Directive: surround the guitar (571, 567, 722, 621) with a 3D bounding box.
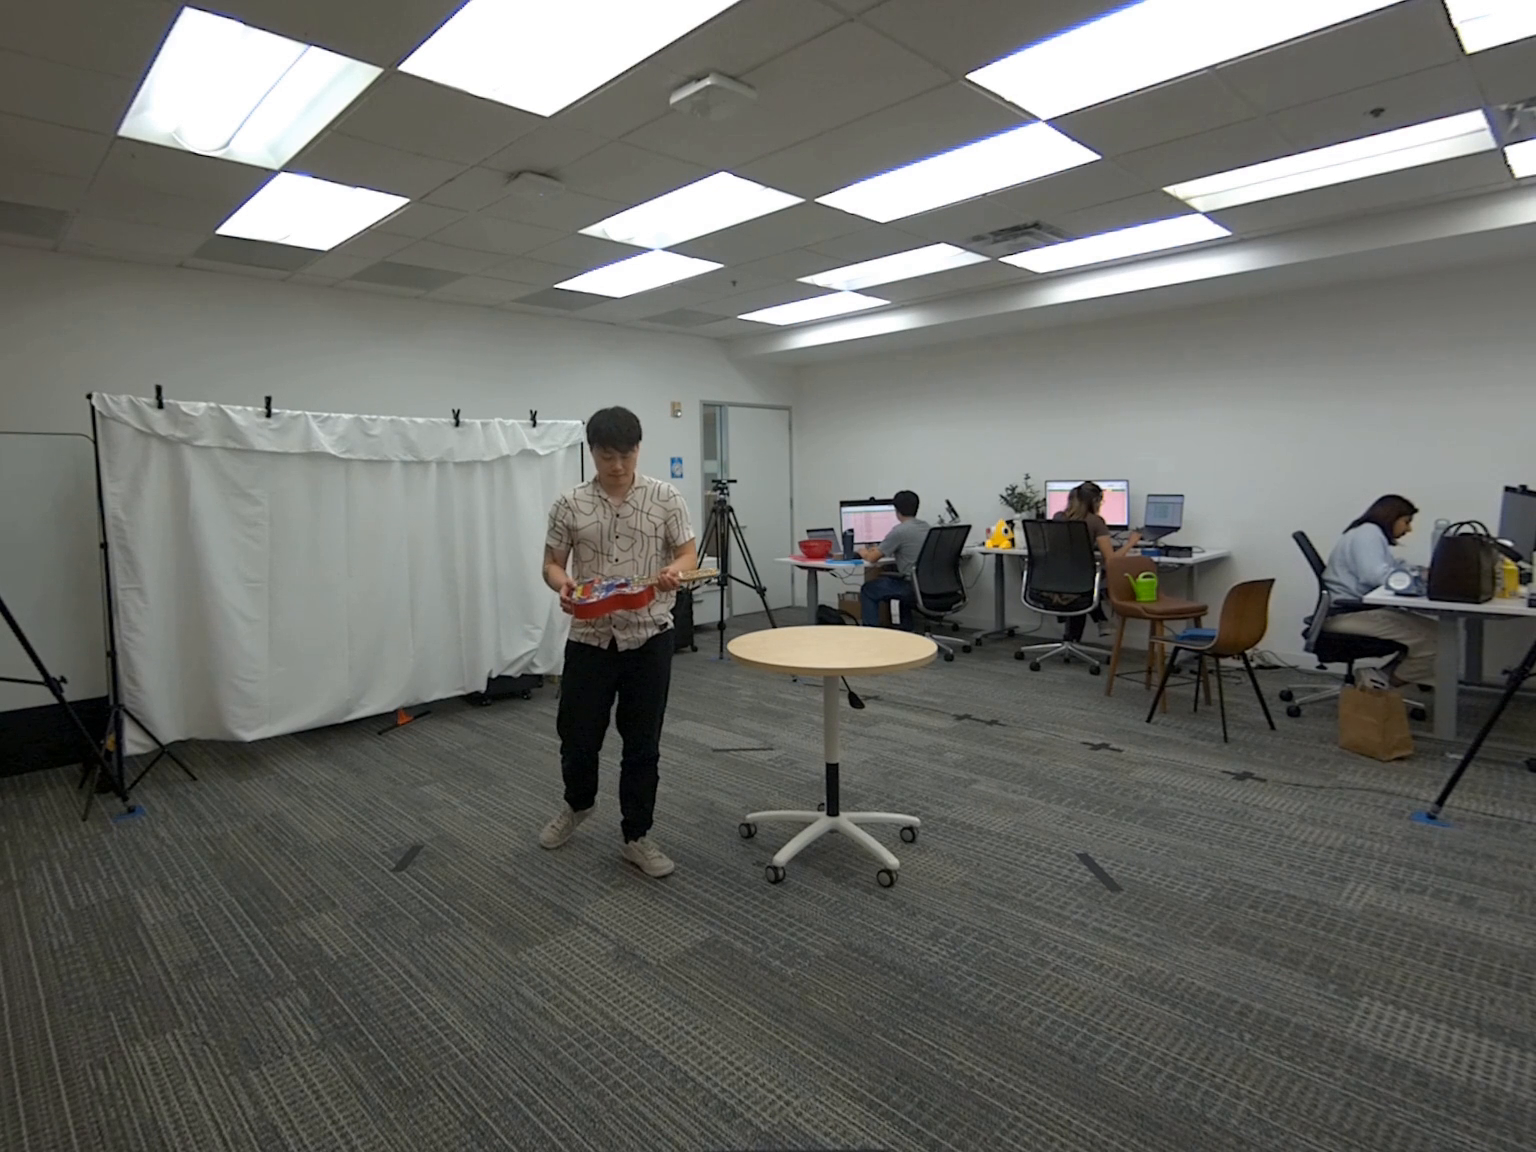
[{"bbox_3d":[-0.421,0.064,2.810,0.502,0.069,0.195,-5,23,9],"label":"guitar"}]
